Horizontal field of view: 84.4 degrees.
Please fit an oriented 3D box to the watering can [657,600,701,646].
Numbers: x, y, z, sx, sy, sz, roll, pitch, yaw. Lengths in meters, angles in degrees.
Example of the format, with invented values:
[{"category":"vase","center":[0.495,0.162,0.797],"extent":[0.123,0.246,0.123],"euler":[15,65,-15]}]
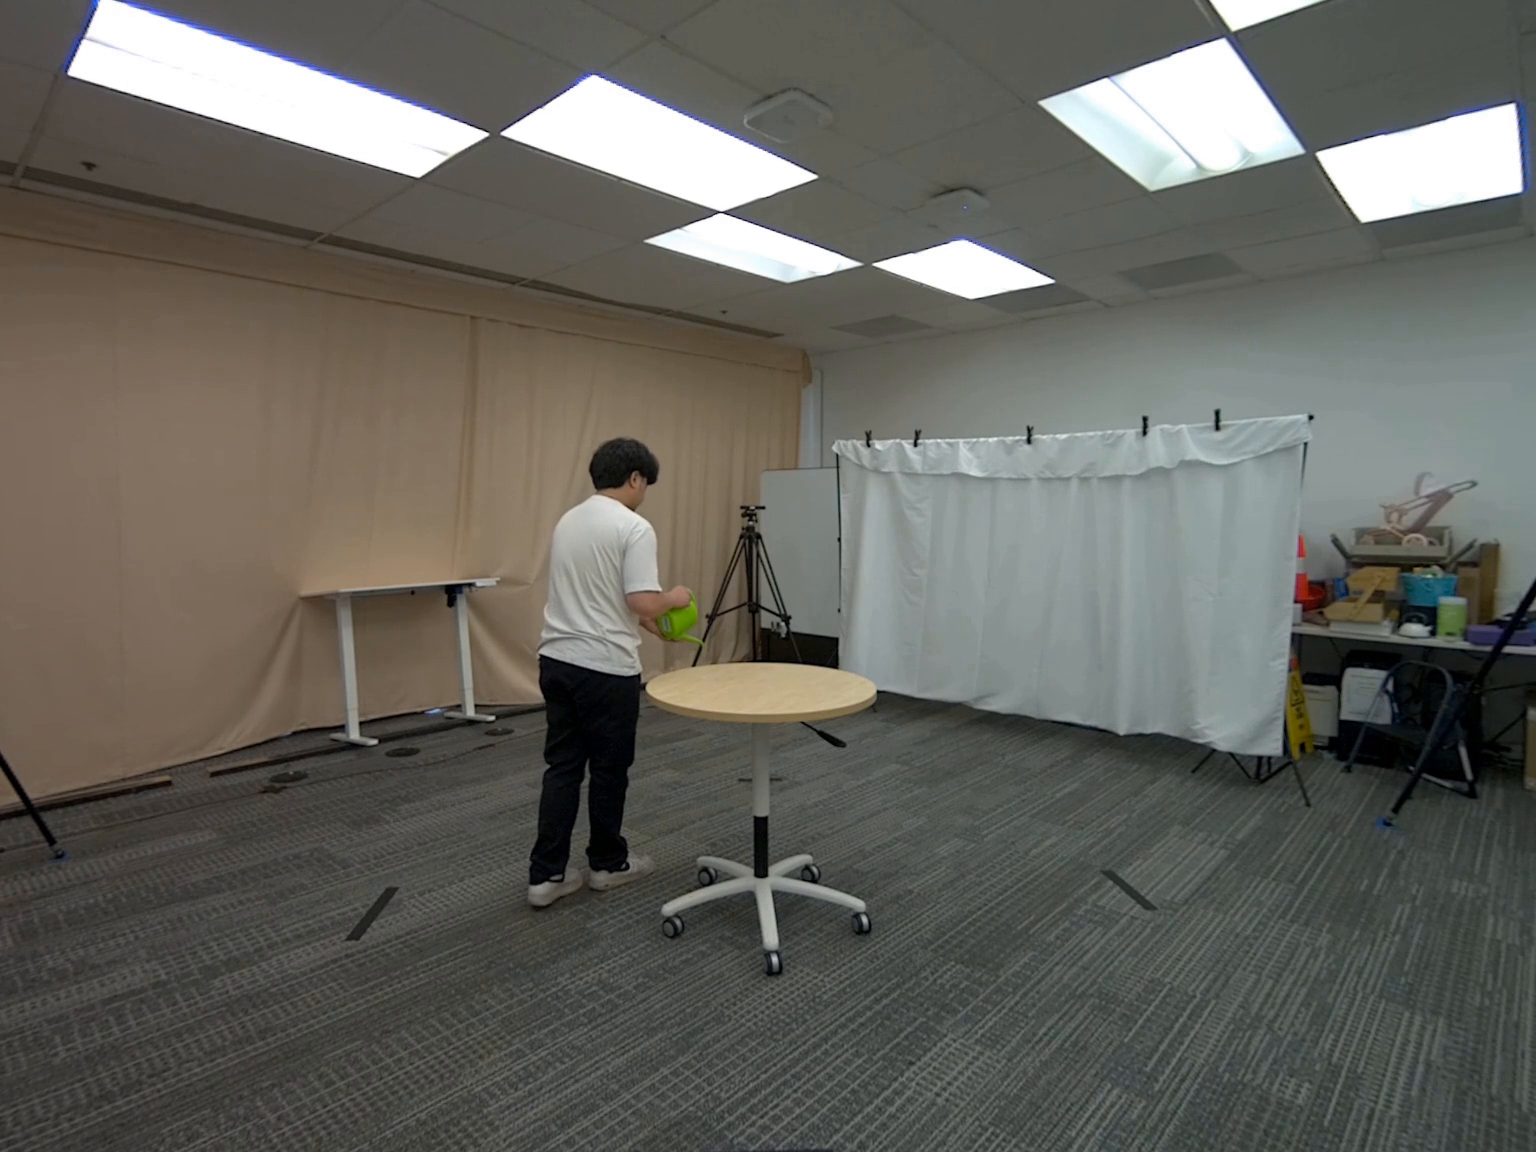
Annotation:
[{"category":"watering can","center":[-0.320,0.187,3.252],"extent":[0.101,0.275,0.173],"euler":[-9,15,46]}]
